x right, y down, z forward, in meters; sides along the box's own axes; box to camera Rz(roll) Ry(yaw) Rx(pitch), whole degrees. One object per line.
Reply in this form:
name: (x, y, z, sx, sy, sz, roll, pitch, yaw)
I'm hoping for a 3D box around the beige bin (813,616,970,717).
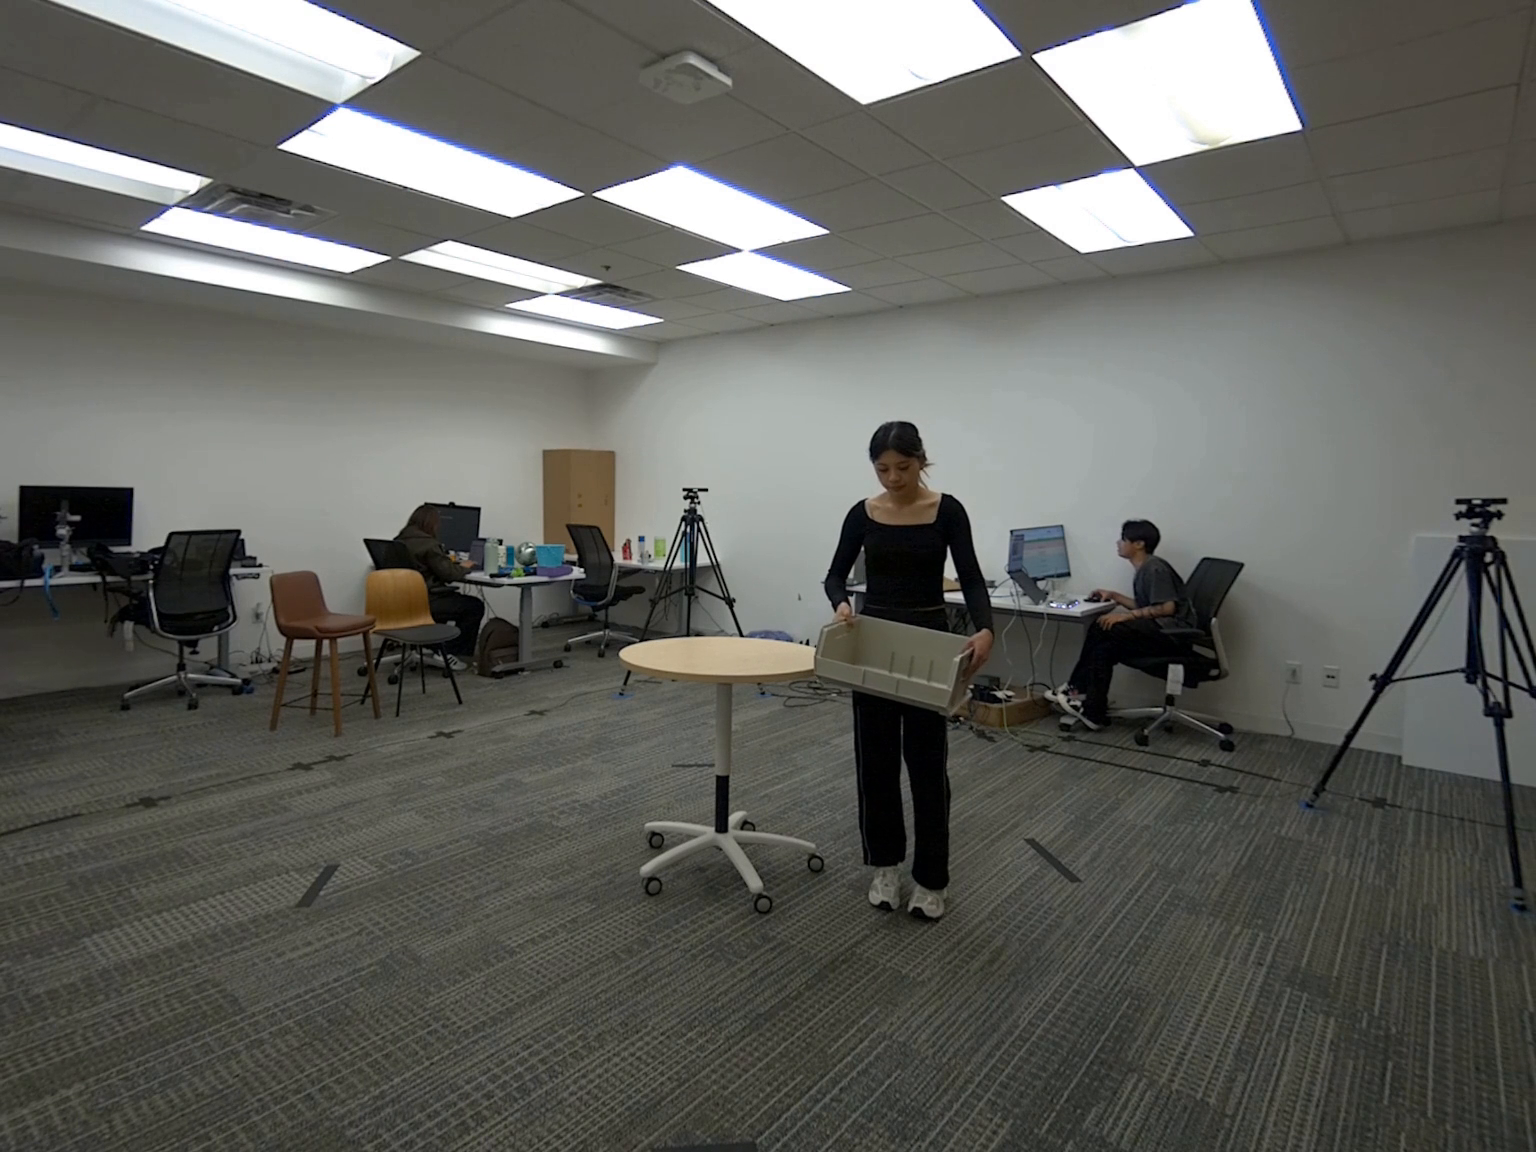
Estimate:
beige bin: (0.398, 0.262, 2.631, 0.434, 0.188, 0.368, 11, 7, 25)
